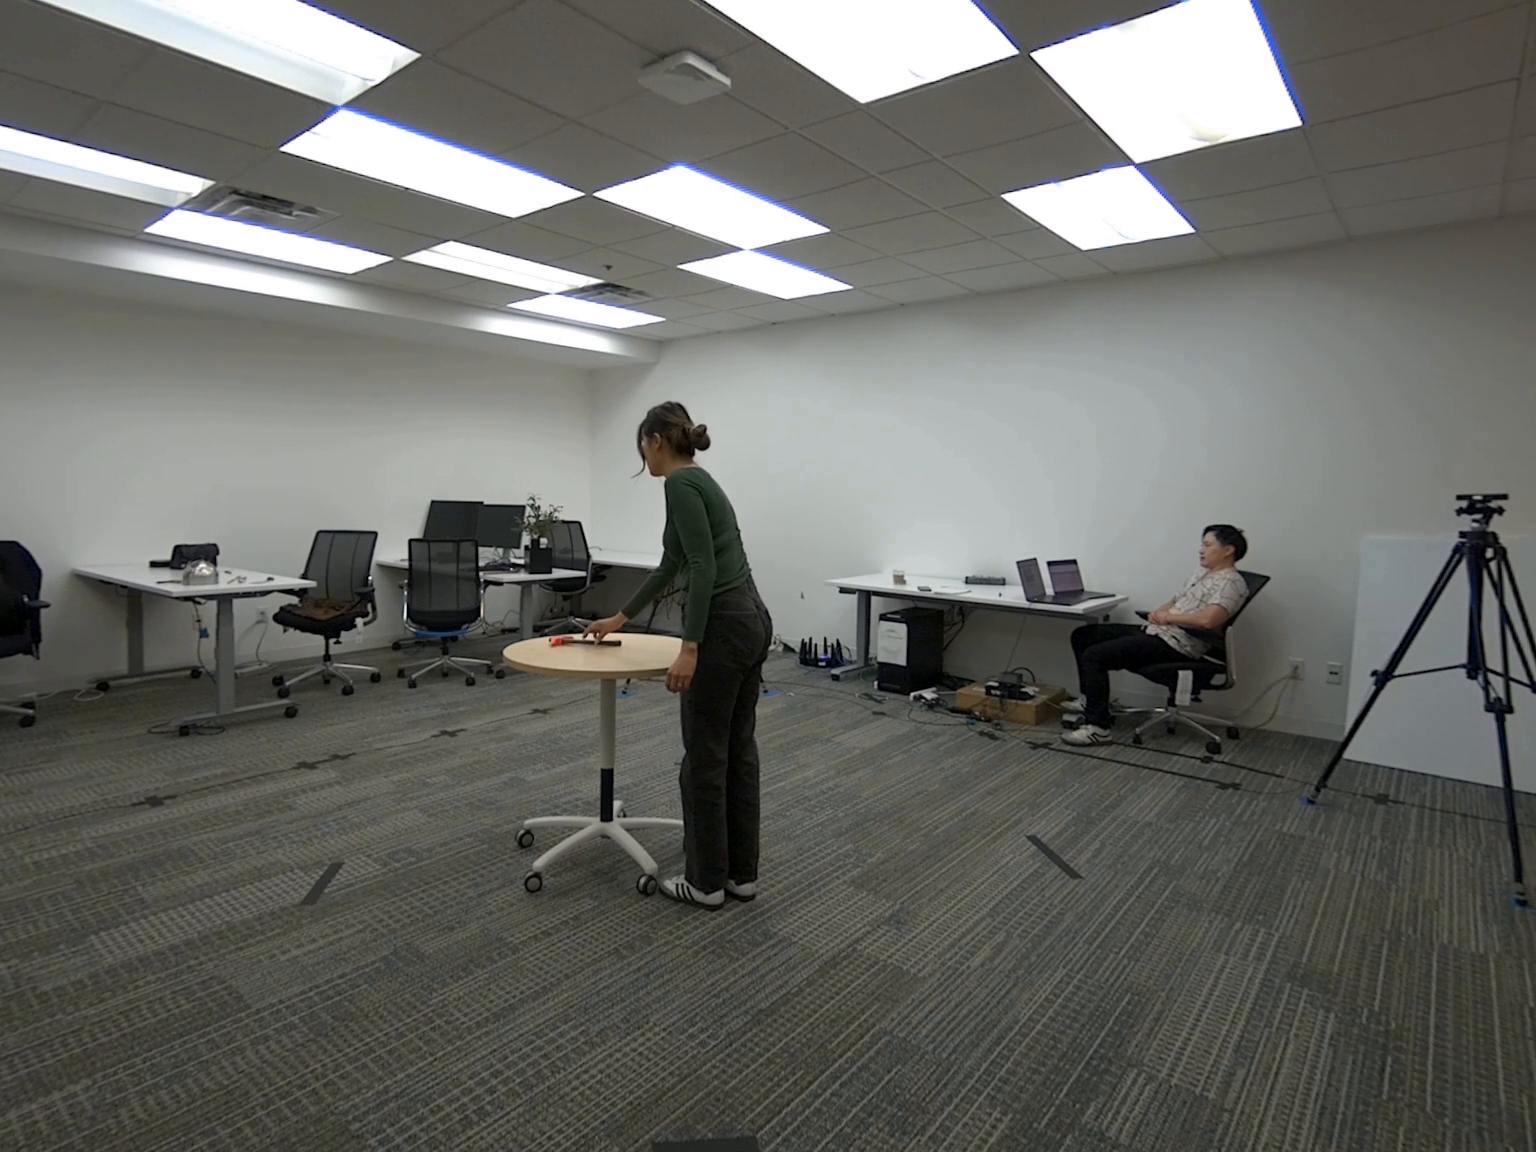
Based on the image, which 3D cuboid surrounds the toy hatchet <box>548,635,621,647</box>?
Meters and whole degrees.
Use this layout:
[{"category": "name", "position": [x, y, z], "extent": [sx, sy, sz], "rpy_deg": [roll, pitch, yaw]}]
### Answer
[{"category": "toy hatchet", "position": [-0.723, 0.245, 3.275], "extent": [0.266, 0.029, 0.133], "rpy_deg": [0, 5, -14]}]
